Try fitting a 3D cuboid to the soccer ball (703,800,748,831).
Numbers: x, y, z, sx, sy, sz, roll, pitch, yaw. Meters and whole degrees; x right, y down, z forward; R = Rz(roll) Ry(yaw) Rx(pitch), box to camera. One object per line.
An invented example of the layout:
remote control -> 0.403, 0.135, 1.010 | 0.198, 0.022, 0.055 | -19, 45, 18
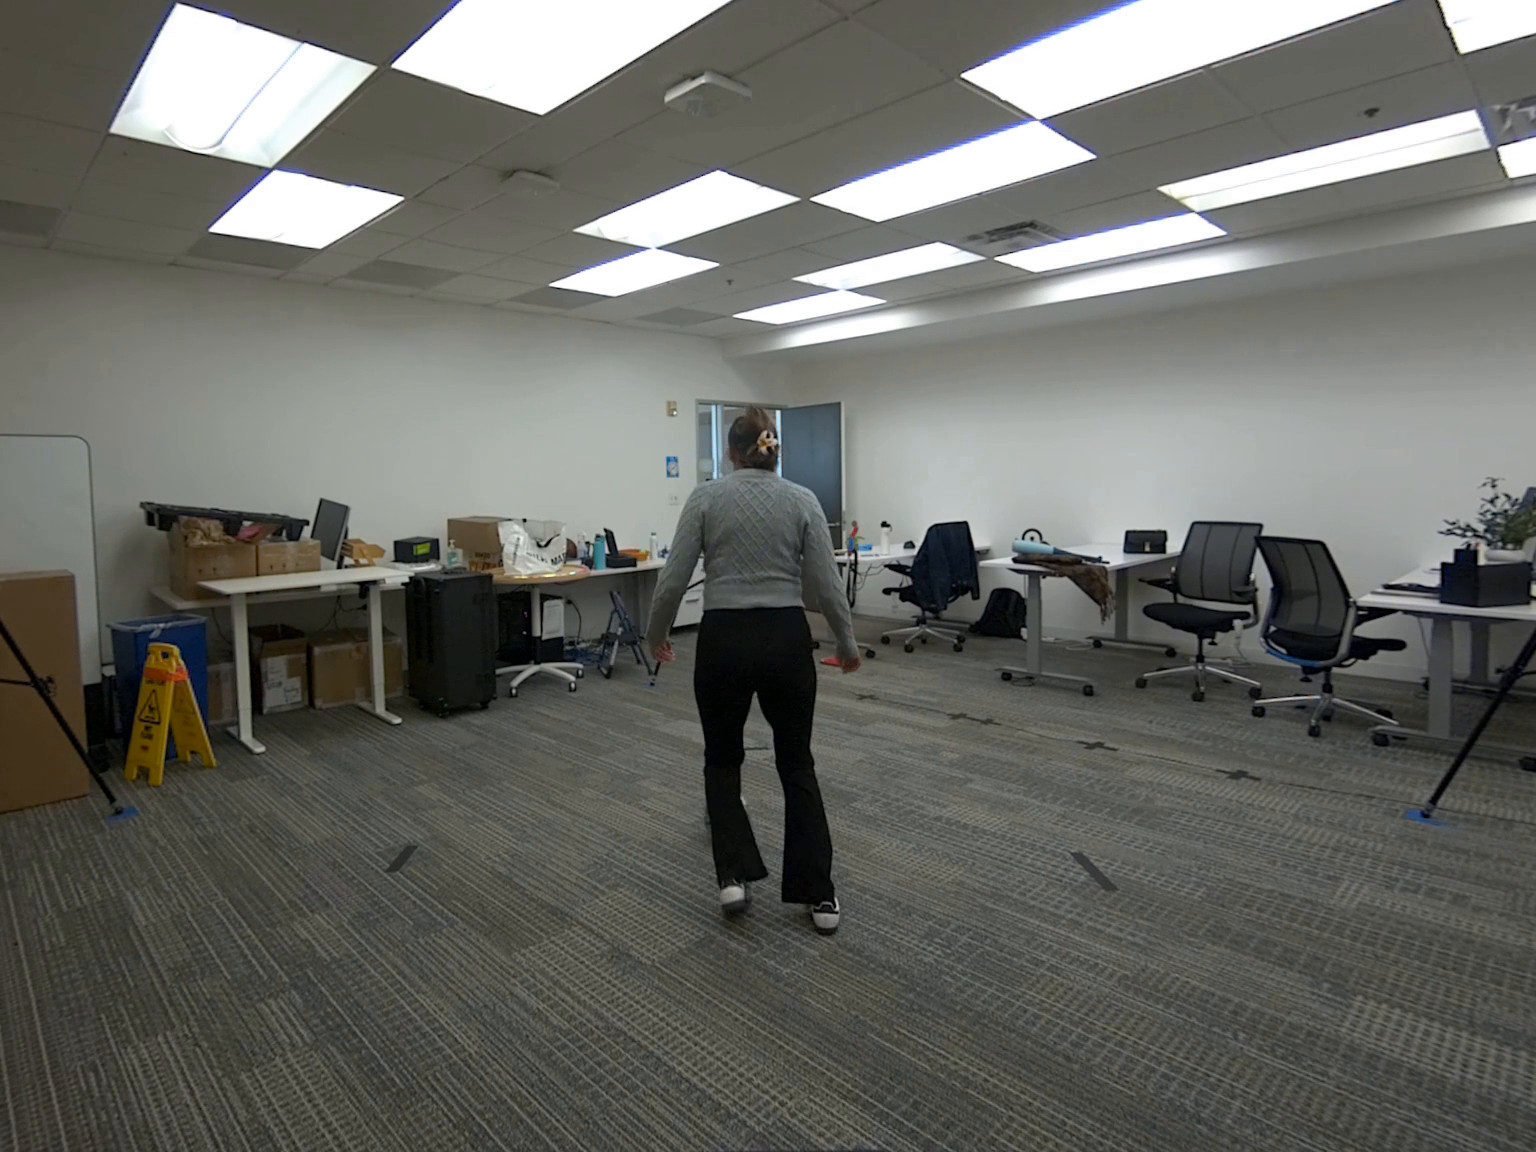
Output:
soccer ball -> -0.148, 0.927, 3.304 | 0.187, 0.187, 0.188 | -1, 5, -2
